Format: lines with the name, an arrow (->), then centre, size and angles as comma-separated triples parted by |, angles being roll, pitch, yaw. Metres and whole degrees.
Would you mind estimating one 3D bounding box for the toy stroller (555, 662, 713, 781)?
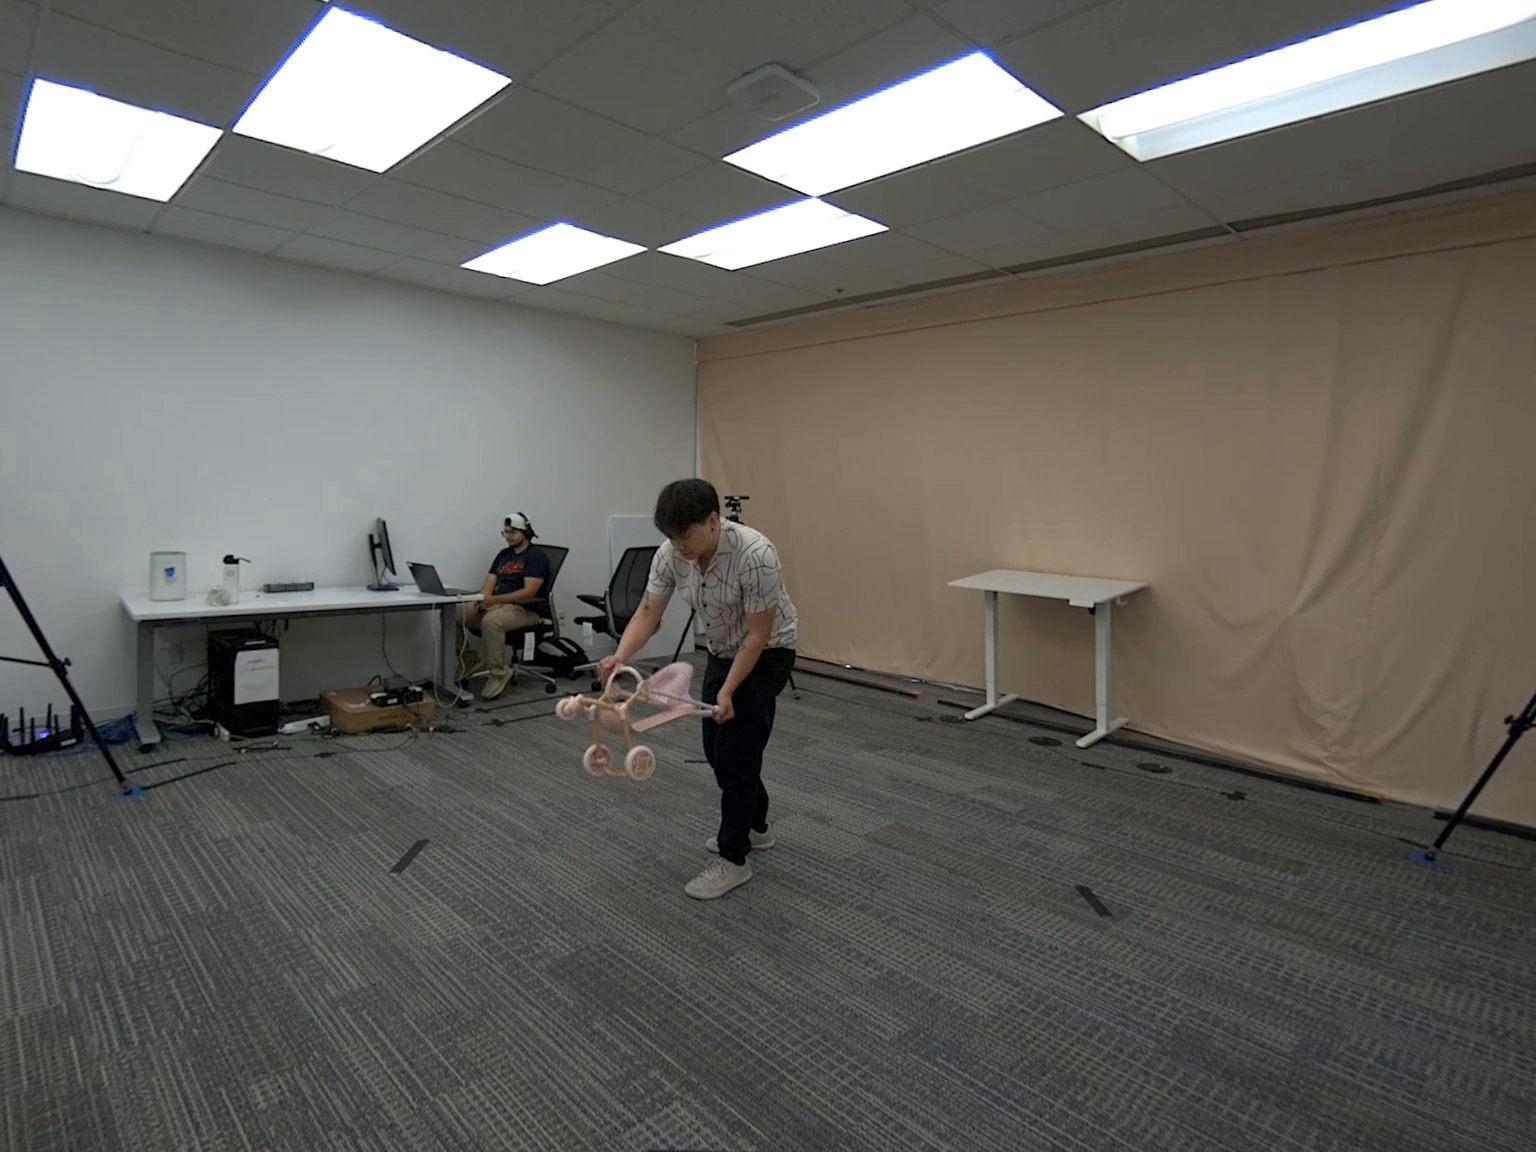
toy stroller -> -0.432, 0.444, 2.769 | 0.530, 0.340, 0.285 | -31, 7, -39
